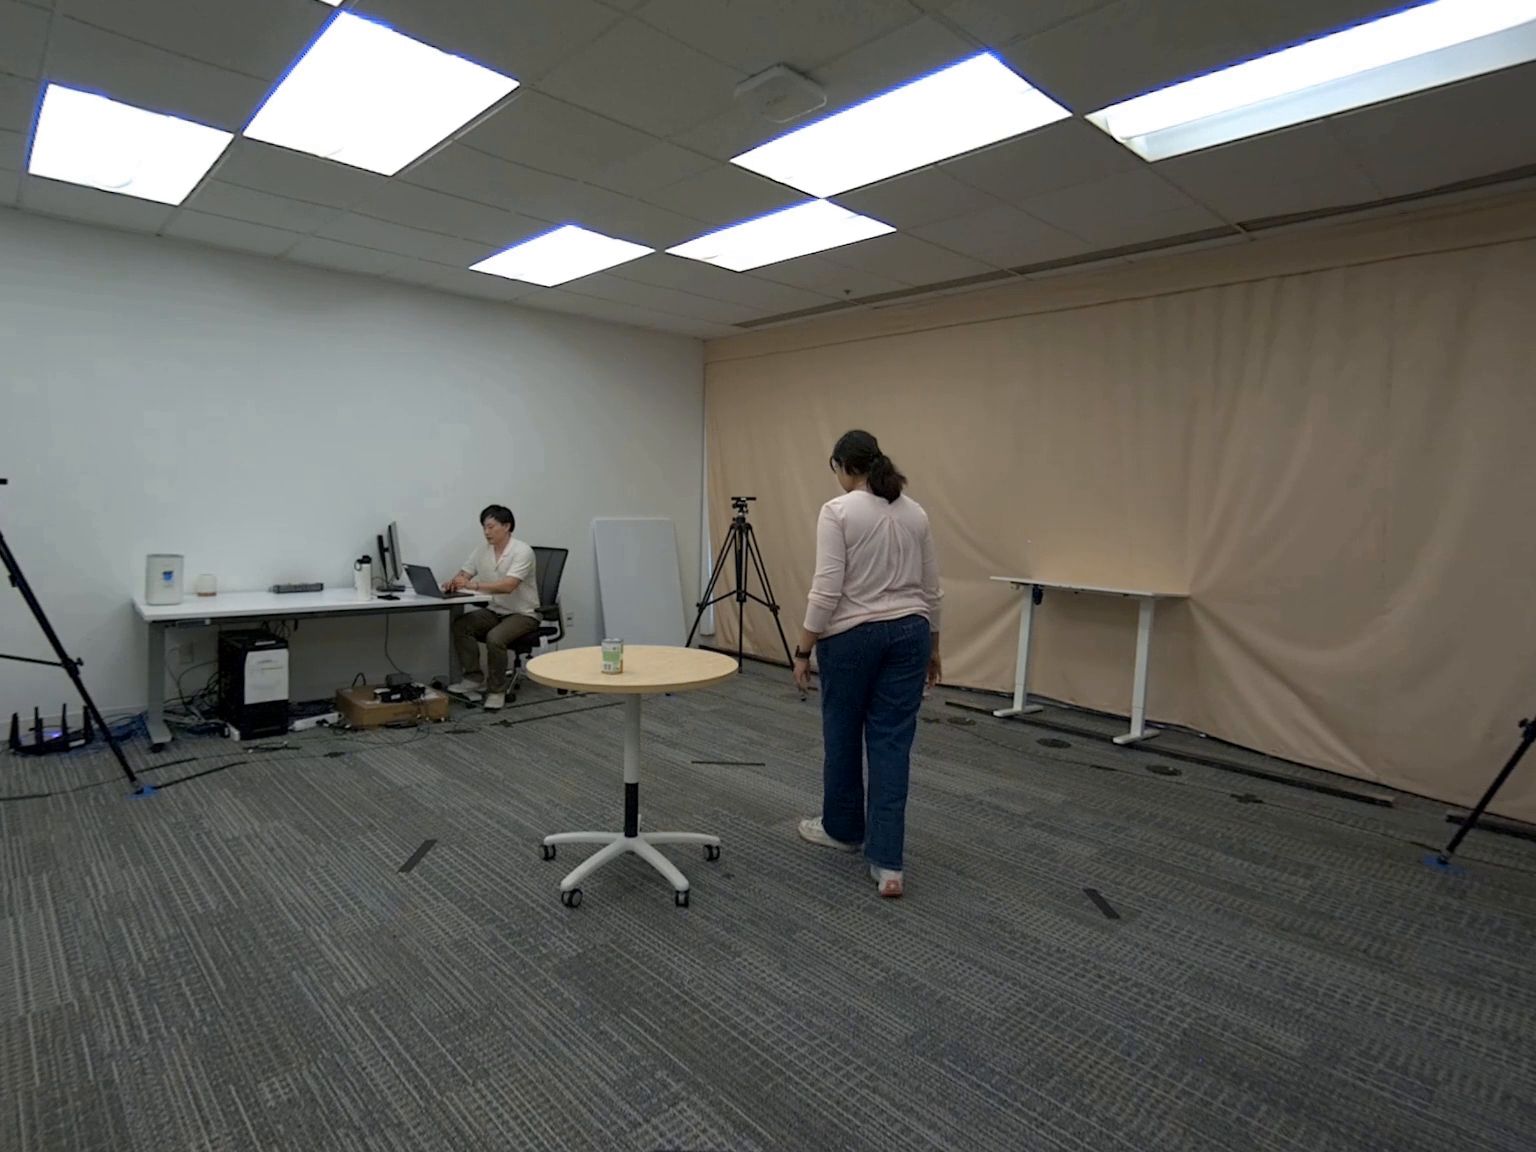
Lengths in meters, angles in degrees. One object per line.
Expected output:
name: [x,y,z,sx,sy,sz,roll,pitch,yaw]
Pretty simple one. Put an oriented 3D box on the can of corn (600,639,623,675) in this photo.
can of corn: [-0.542,0.279,2.883,0.074,0.111,0.074,-1,2,-1]
